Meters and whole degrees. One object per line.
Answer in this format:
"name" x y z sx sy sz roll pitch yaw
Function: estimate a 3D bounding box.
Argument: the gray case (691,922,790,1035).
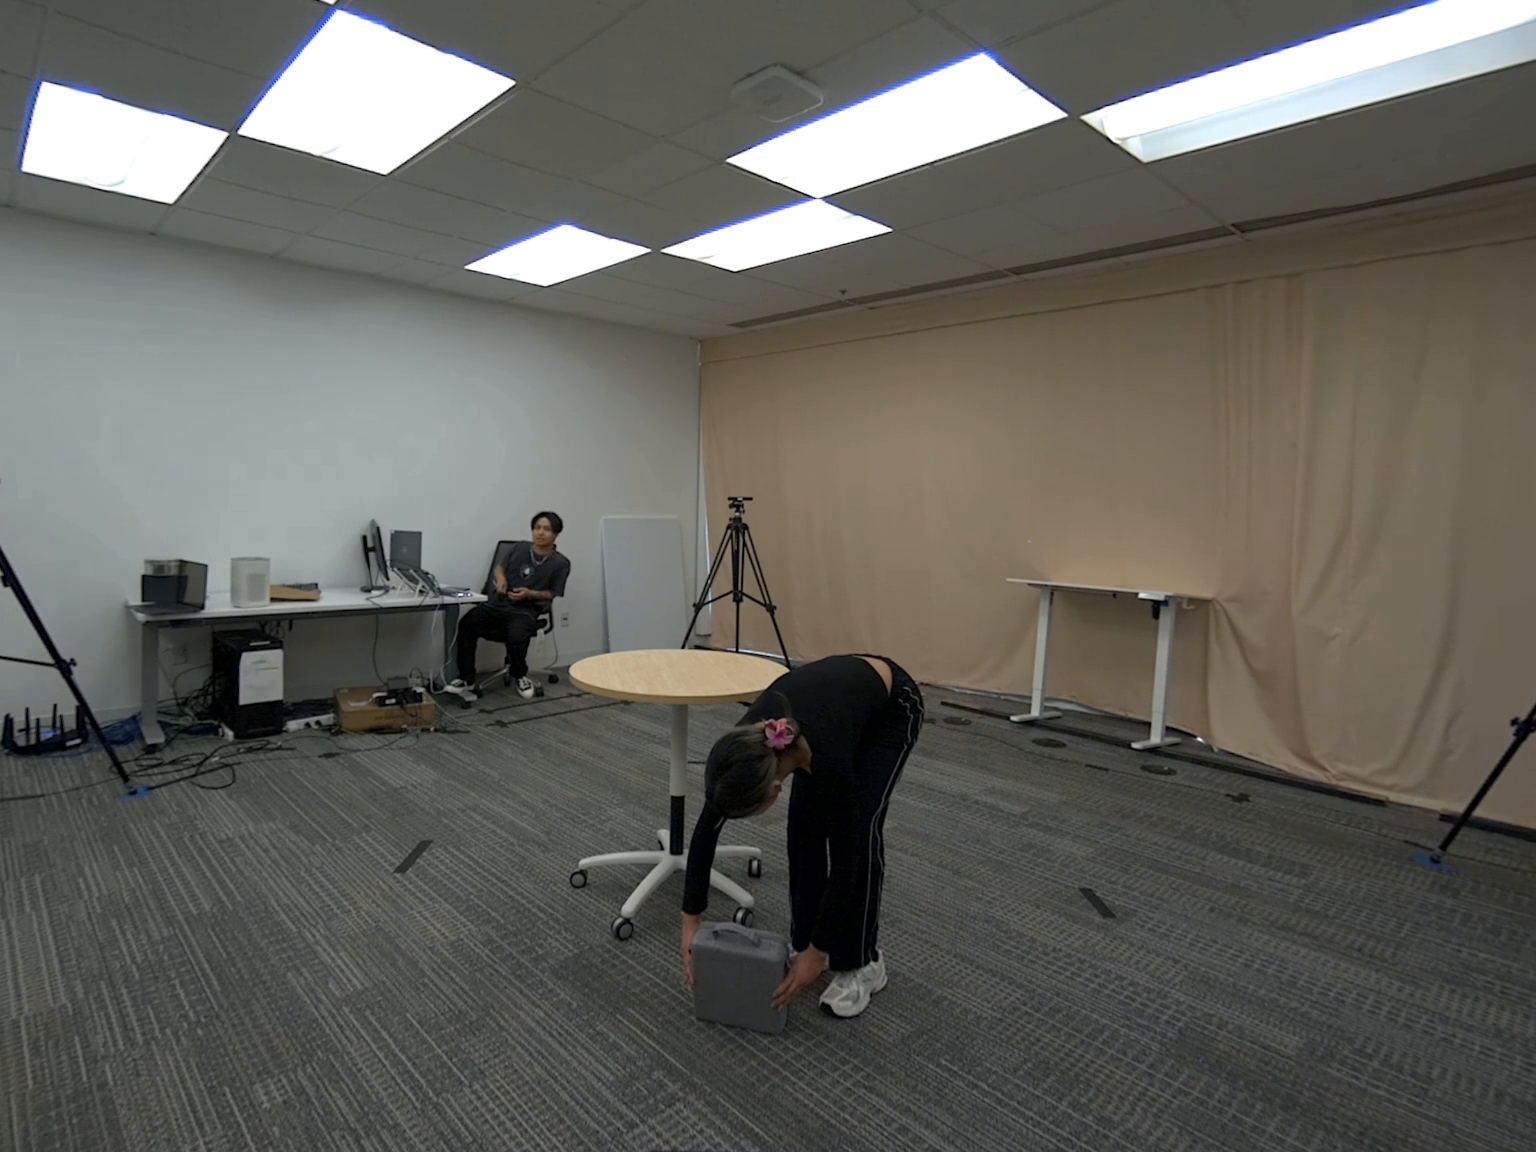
"gray case" -0.070 1.056 2.223 0.260 0.258 0.104 3 12 15
